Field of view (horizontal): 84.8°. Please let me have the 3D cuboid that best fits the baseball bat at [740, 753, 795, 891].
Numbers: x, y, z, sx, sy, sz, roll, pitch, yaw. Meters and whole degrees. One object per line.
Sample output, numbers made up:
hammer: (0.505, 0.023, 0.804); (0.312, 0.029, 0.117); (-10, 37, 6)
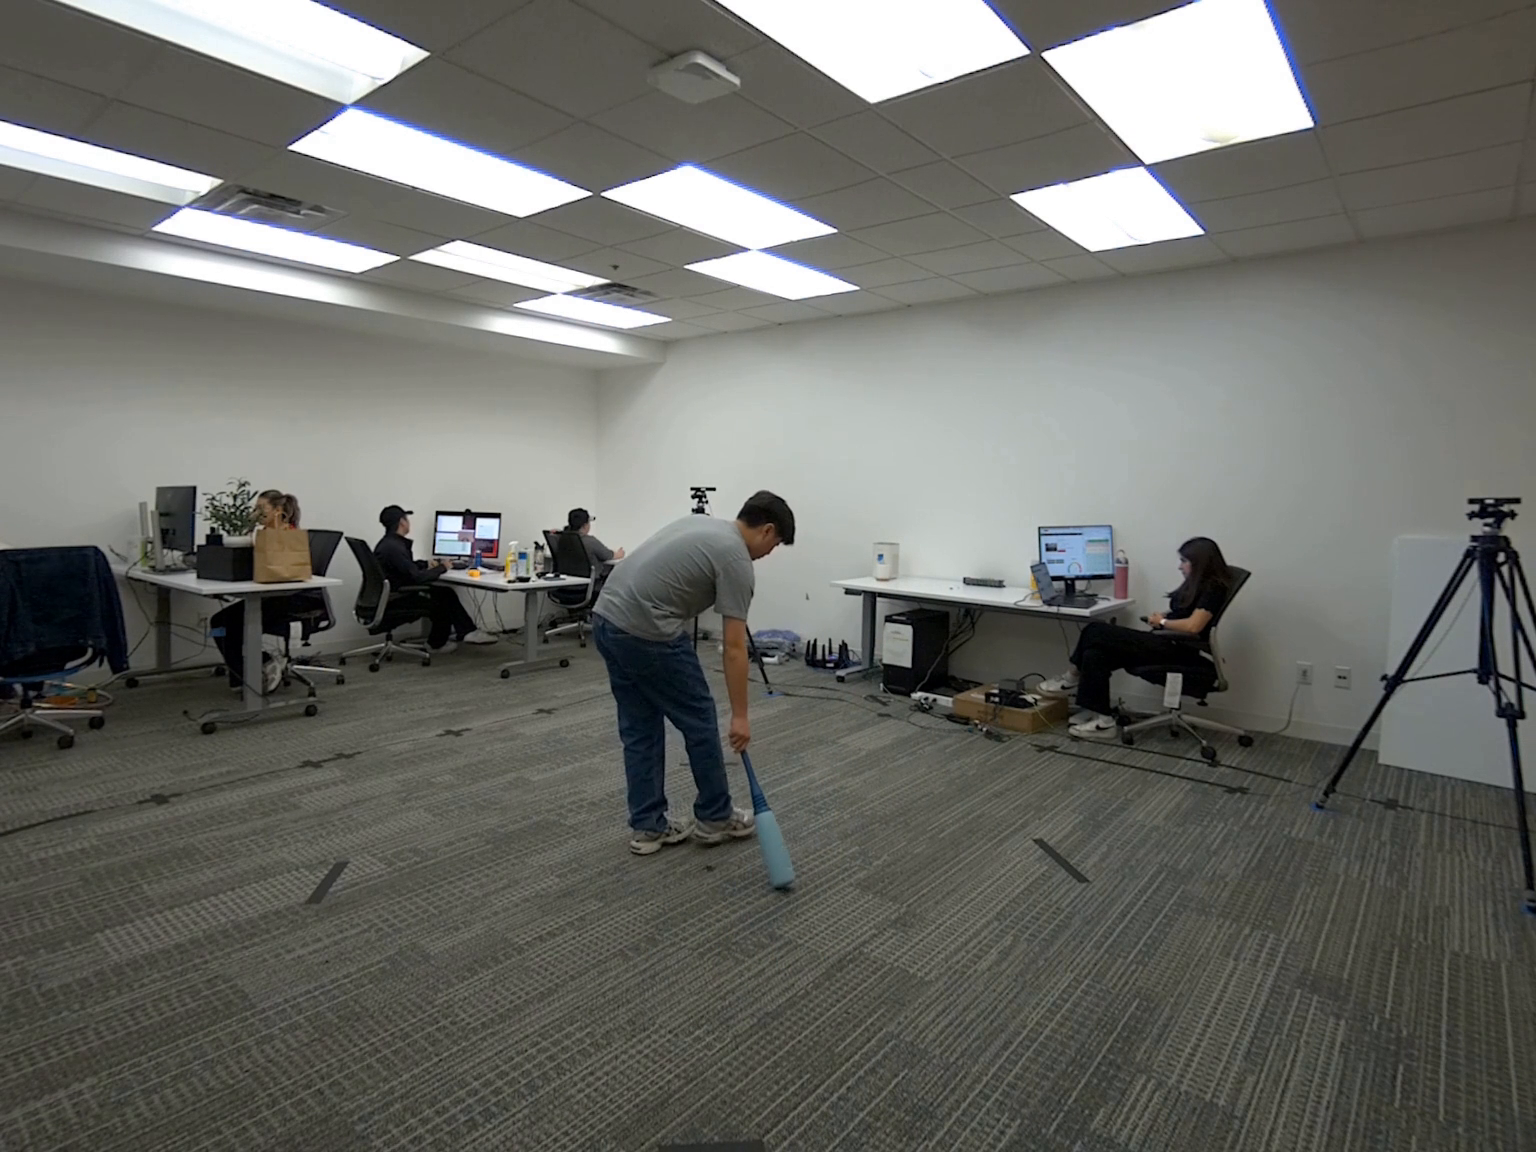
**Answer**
baseball bat: (-0.029, 0.840, 3.065); (0.088, 0.560, 0.087); (-15, -27, -9)
